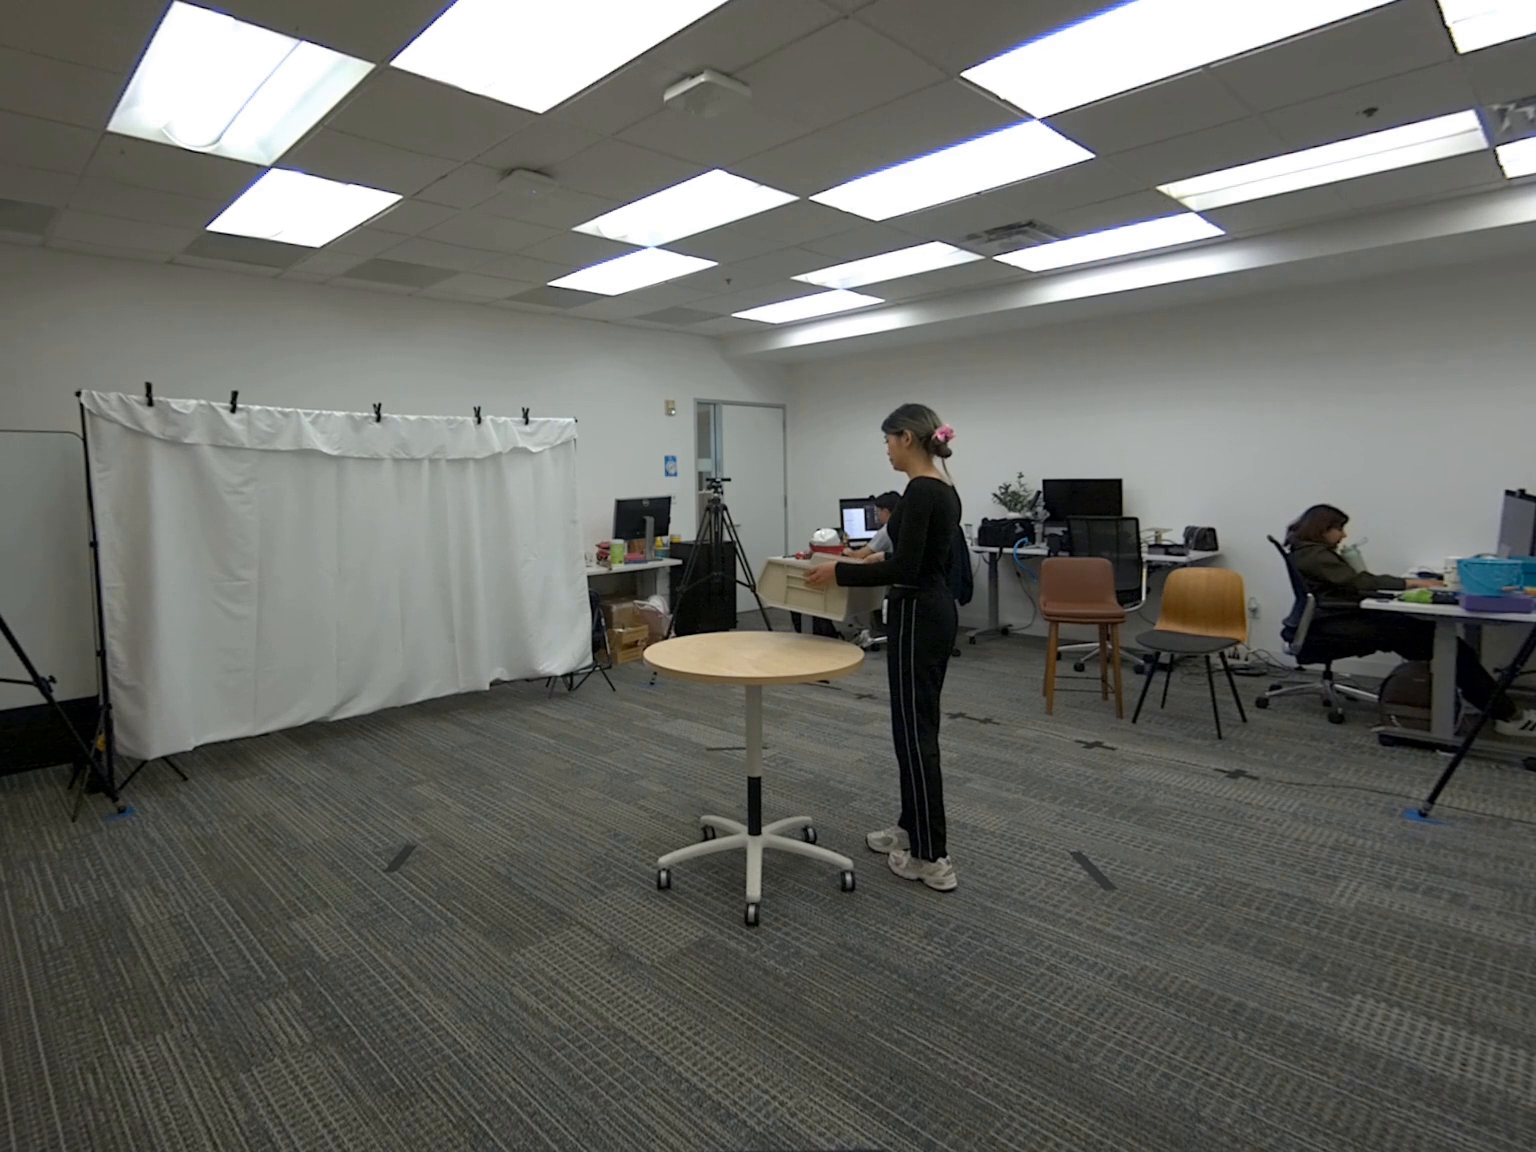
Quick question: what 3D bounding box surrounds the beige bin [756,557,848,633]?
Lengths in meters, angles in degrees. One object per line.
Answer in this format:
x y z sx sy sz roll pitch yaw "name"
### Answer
0.224 0.032 3.301 0.388 0.188 0.412 12 9 29 "beige bin"
